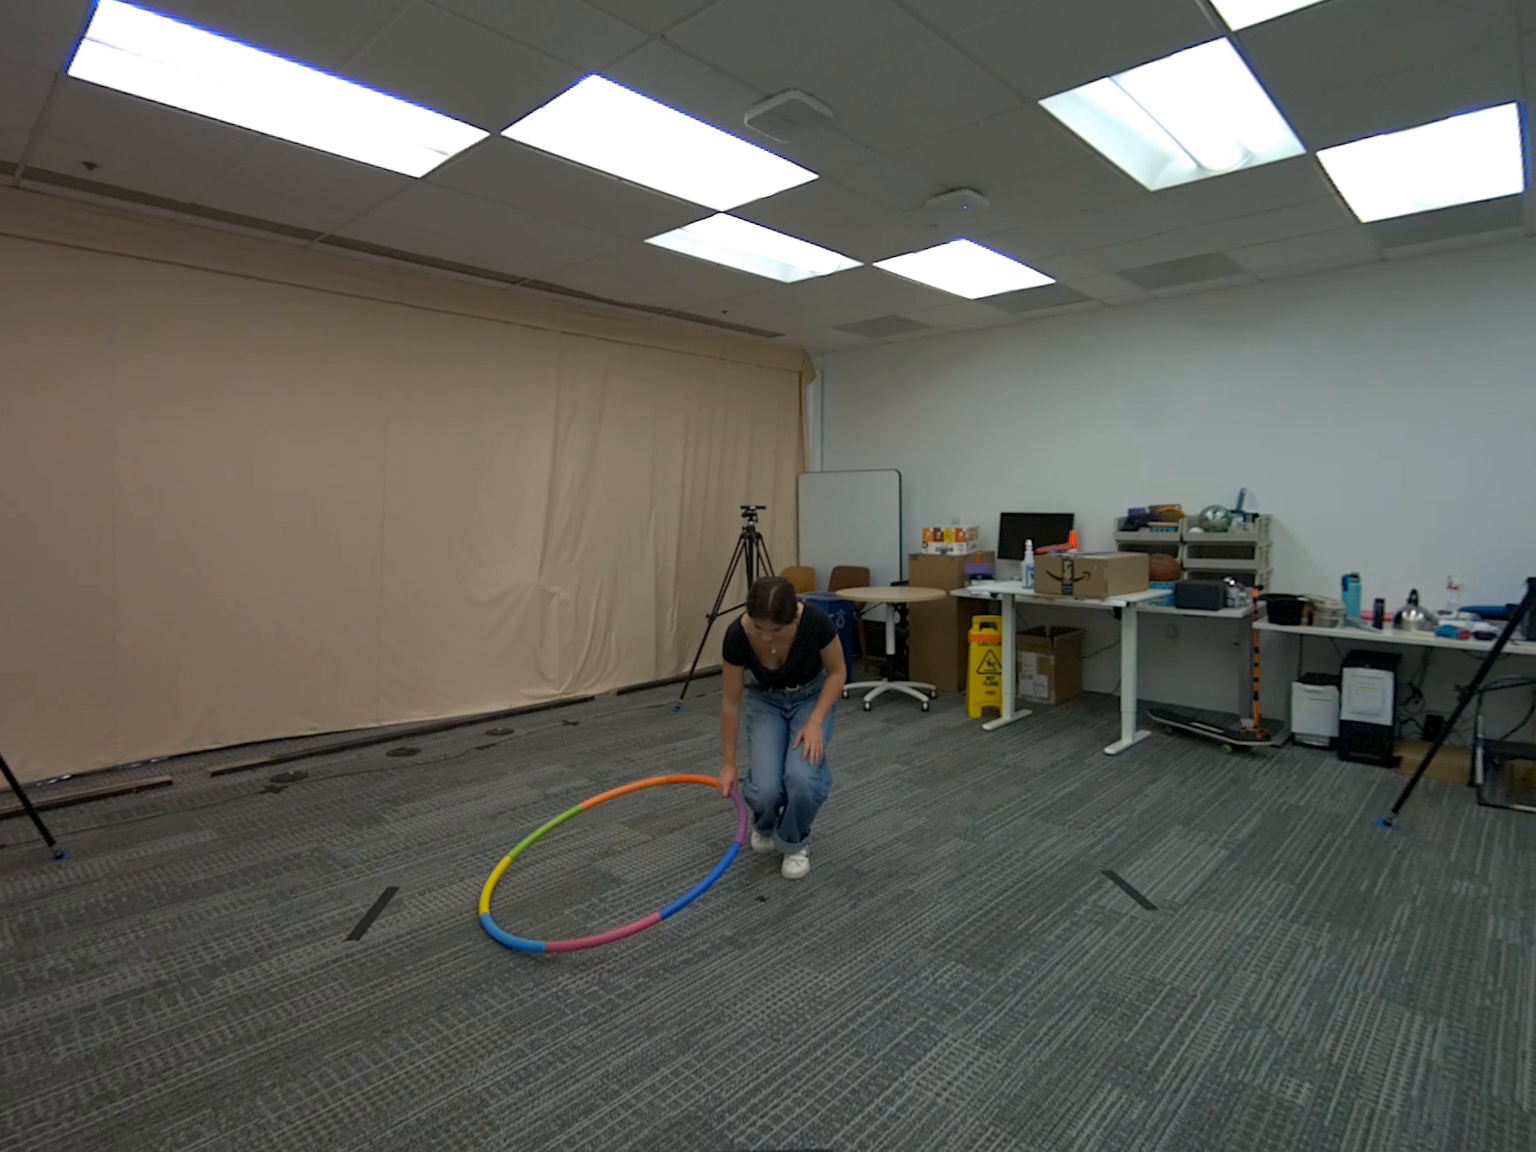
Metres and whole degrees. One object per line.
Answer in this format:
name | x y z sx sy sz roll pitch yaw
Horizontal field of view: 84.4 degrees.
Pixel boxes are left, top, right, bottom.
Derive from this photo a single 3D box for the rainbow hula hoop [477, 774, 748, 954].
rainbow hula hoop | -0.529 0.973 3.005 0.981 0.035 0.988 -16 14 2
